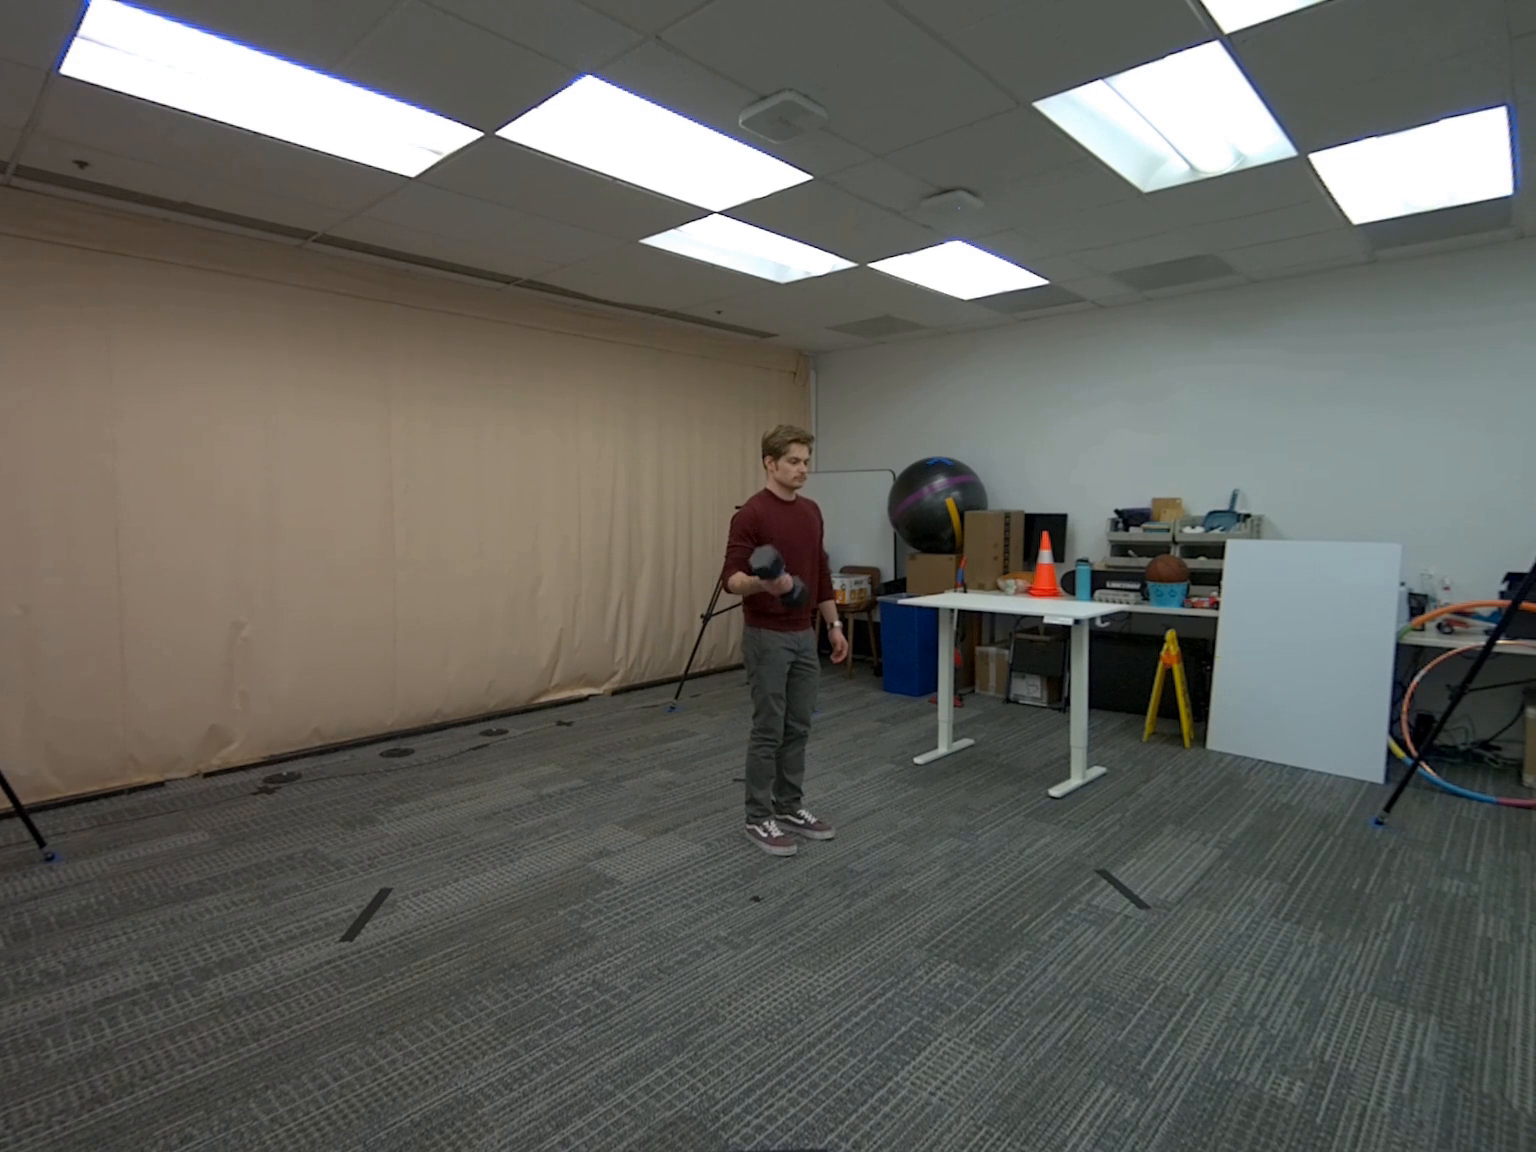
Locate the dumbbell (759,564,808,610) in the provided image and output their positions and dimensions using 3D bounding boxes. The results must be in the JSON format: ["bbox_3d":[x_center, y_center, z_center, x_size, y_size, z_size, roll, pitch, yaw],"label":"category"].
[{"bbox_3d":[0.093,0.100,3.205,0.125,0.110,0.285,-3,-26,13],"label":"dumbbell"}]
